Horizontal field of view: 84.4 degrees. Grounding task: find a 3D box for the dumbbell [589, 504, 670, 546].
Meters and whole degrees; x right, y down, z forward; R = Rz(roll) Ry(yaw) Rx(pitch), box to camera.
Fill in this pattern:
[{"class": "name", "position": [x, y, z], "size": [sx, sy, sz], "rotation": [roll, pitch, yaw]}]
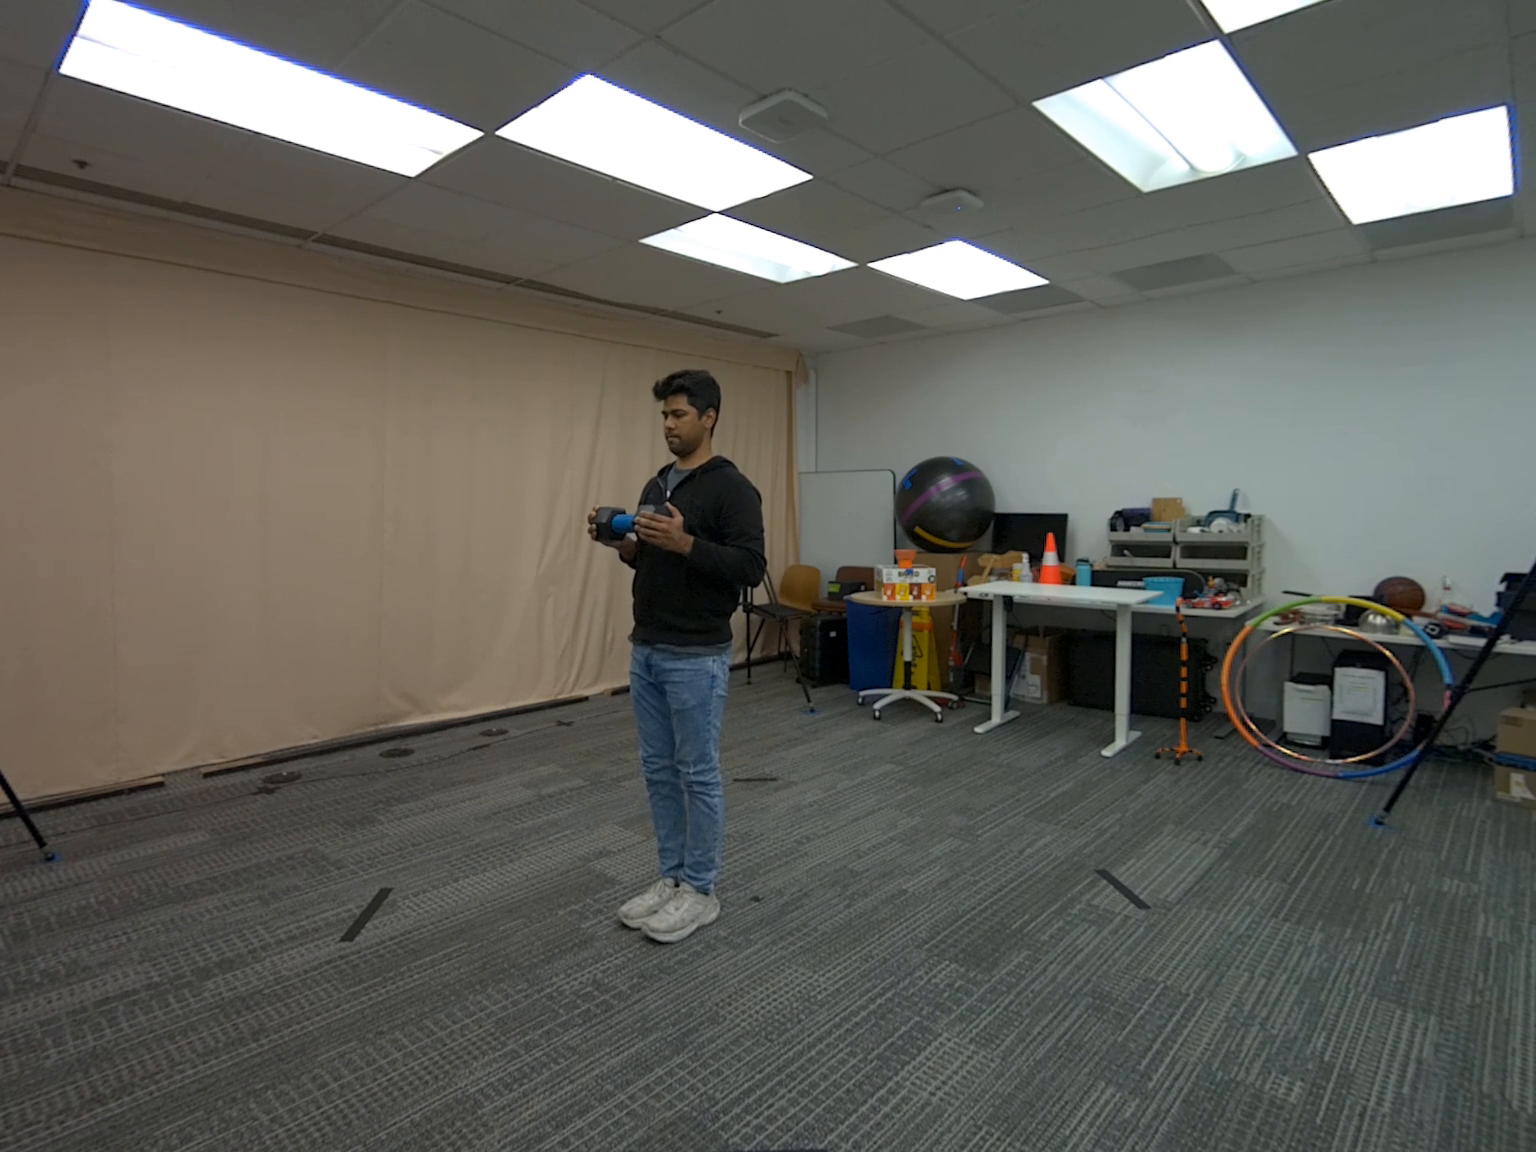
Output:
[{"class": "dumbbell", "position": [-0.415, -0.161, 2.654], "size": [0.303, 0.121, 0.107], "rotation": [3, 28, 44]}]
